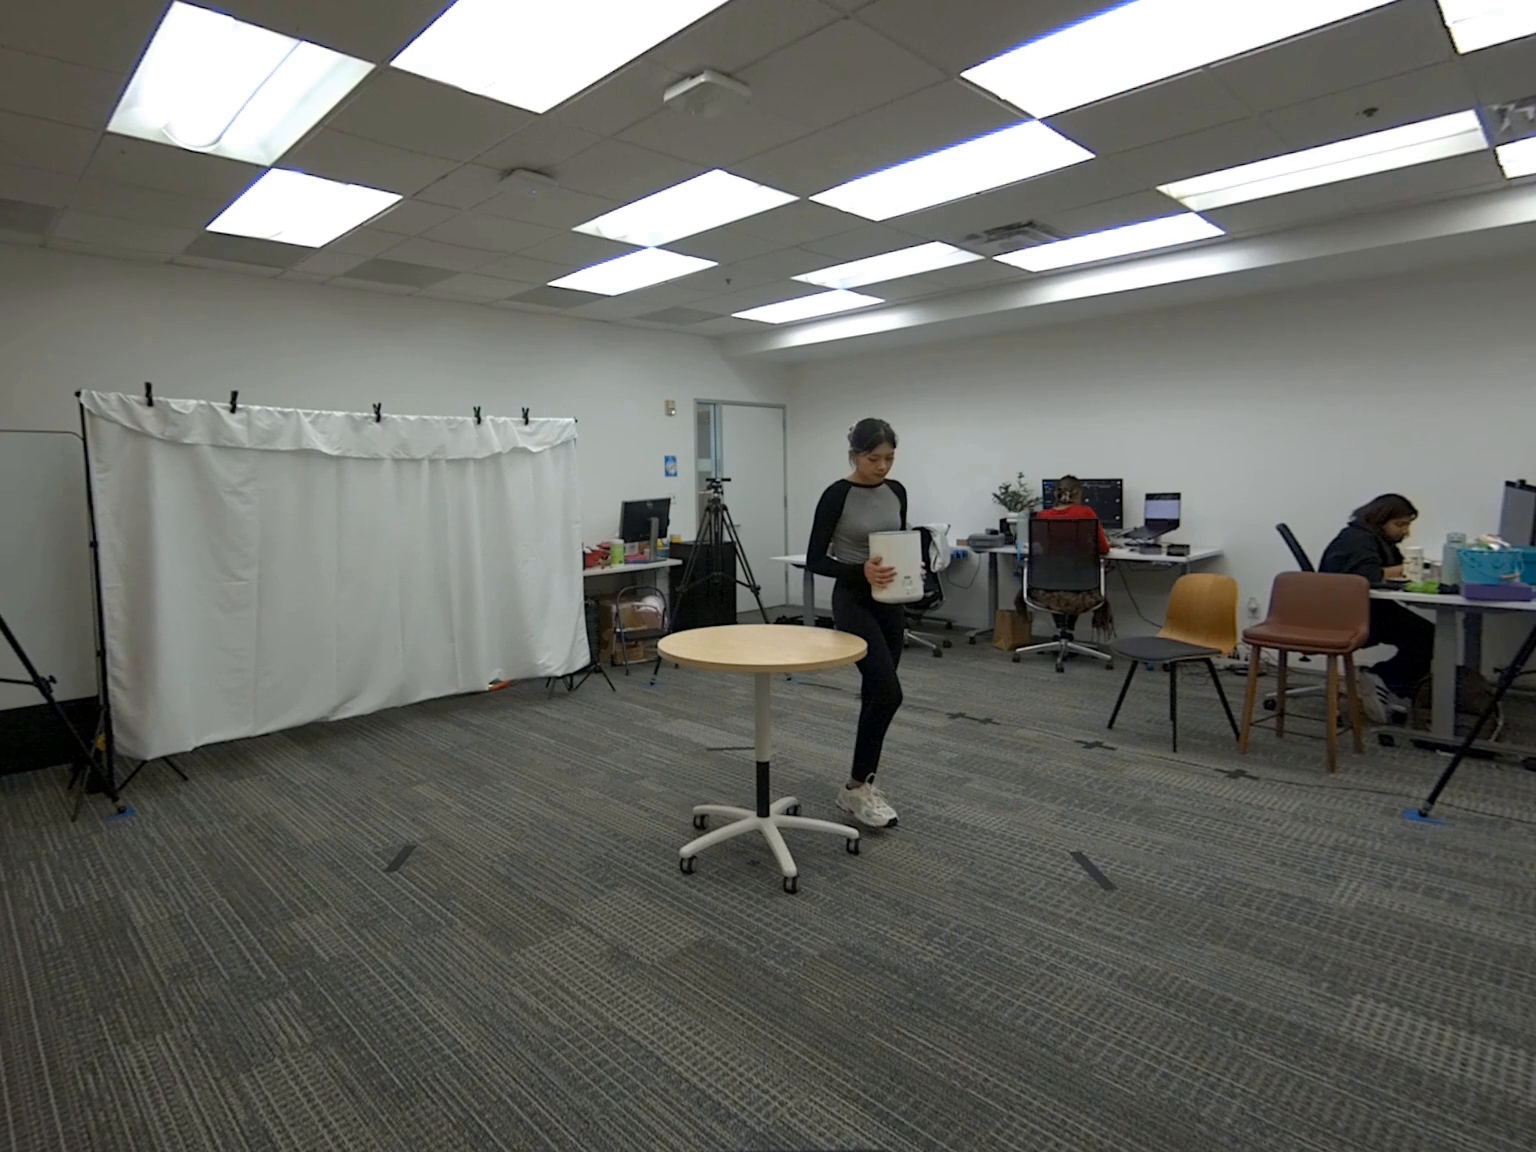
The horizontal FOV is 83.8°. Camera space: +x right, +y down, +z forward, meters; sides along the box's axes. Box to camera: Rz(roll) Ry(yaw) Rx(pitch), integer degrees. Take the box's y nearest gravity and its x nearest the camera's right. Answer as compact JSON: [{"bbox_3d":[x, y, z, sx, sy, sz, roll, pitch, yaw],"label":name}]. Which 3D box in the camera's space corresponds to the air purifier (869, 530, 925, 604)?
[{"bbox_3d":[0.490,-0.036,3.284,0.170,0.265,0.172,-5,0,-8],"label":"air purifier"}]
